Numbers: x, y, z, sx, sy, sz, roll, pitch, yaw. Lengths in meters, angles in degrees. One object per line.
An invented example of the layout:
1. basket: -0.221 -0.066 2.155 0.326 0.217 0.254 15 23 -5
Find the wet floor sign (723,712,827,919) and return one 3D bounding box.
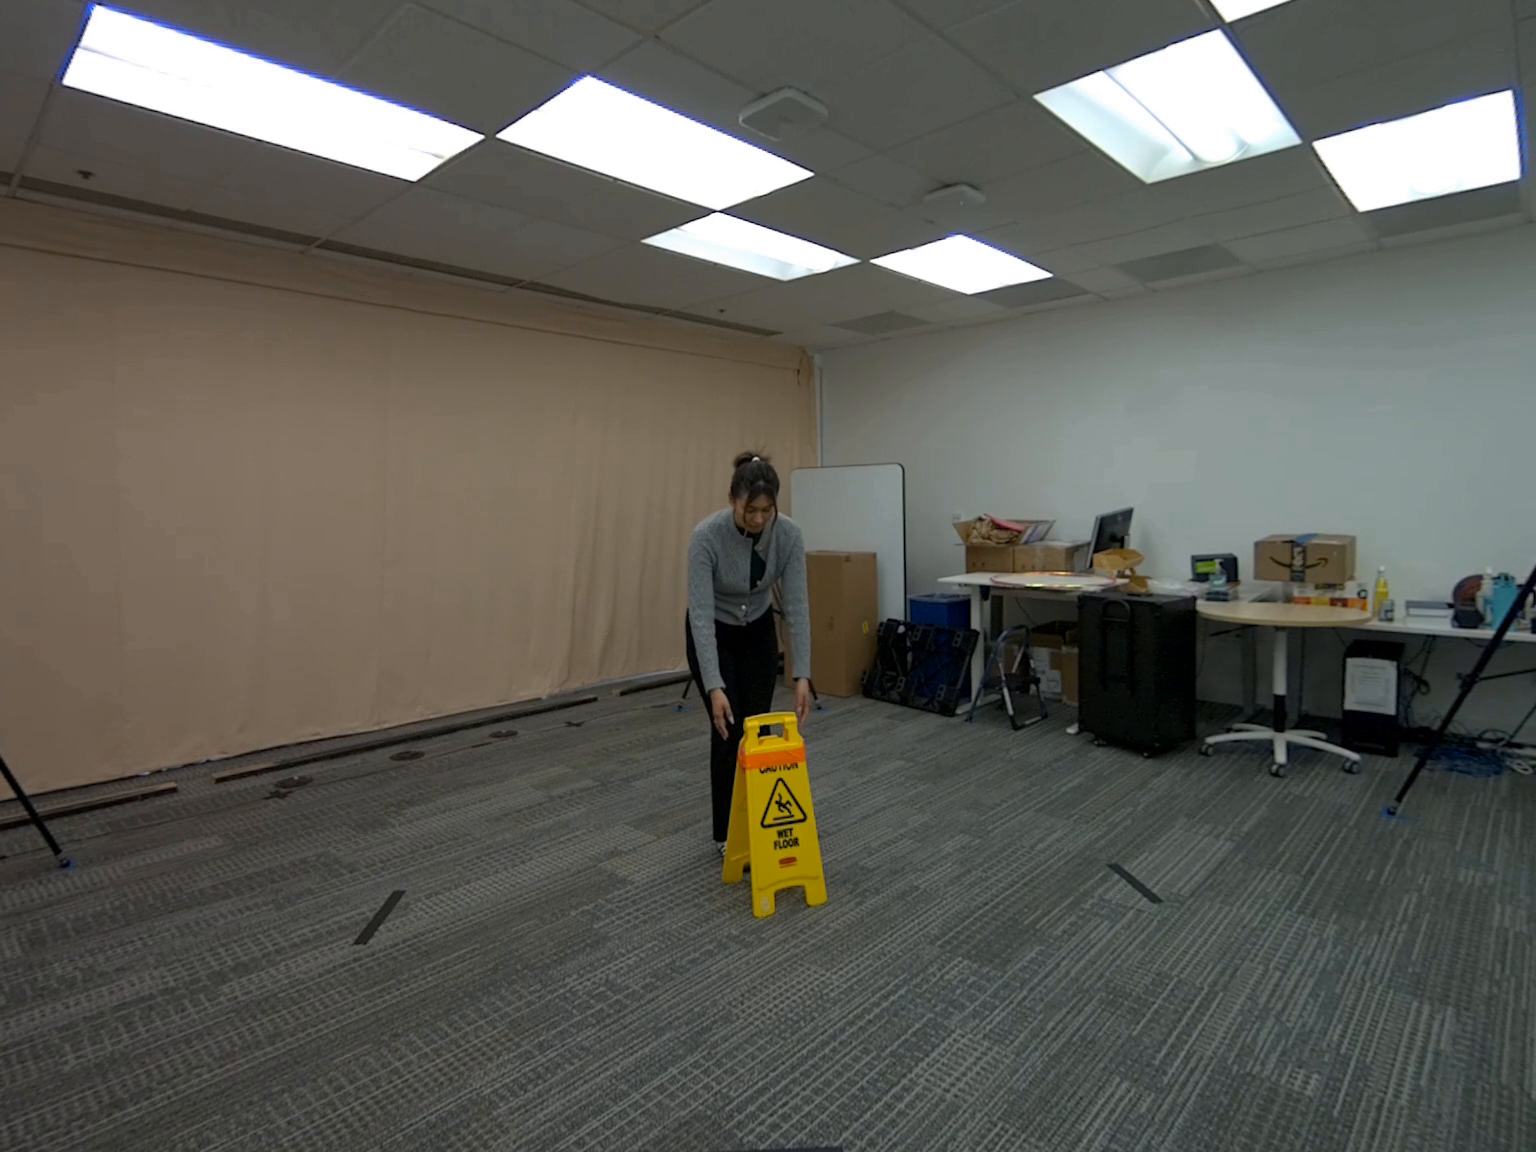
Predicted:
1. wet floor sign: 0.020 0.811 3.002 0.276 0.644 0.297 -3 5 -23
